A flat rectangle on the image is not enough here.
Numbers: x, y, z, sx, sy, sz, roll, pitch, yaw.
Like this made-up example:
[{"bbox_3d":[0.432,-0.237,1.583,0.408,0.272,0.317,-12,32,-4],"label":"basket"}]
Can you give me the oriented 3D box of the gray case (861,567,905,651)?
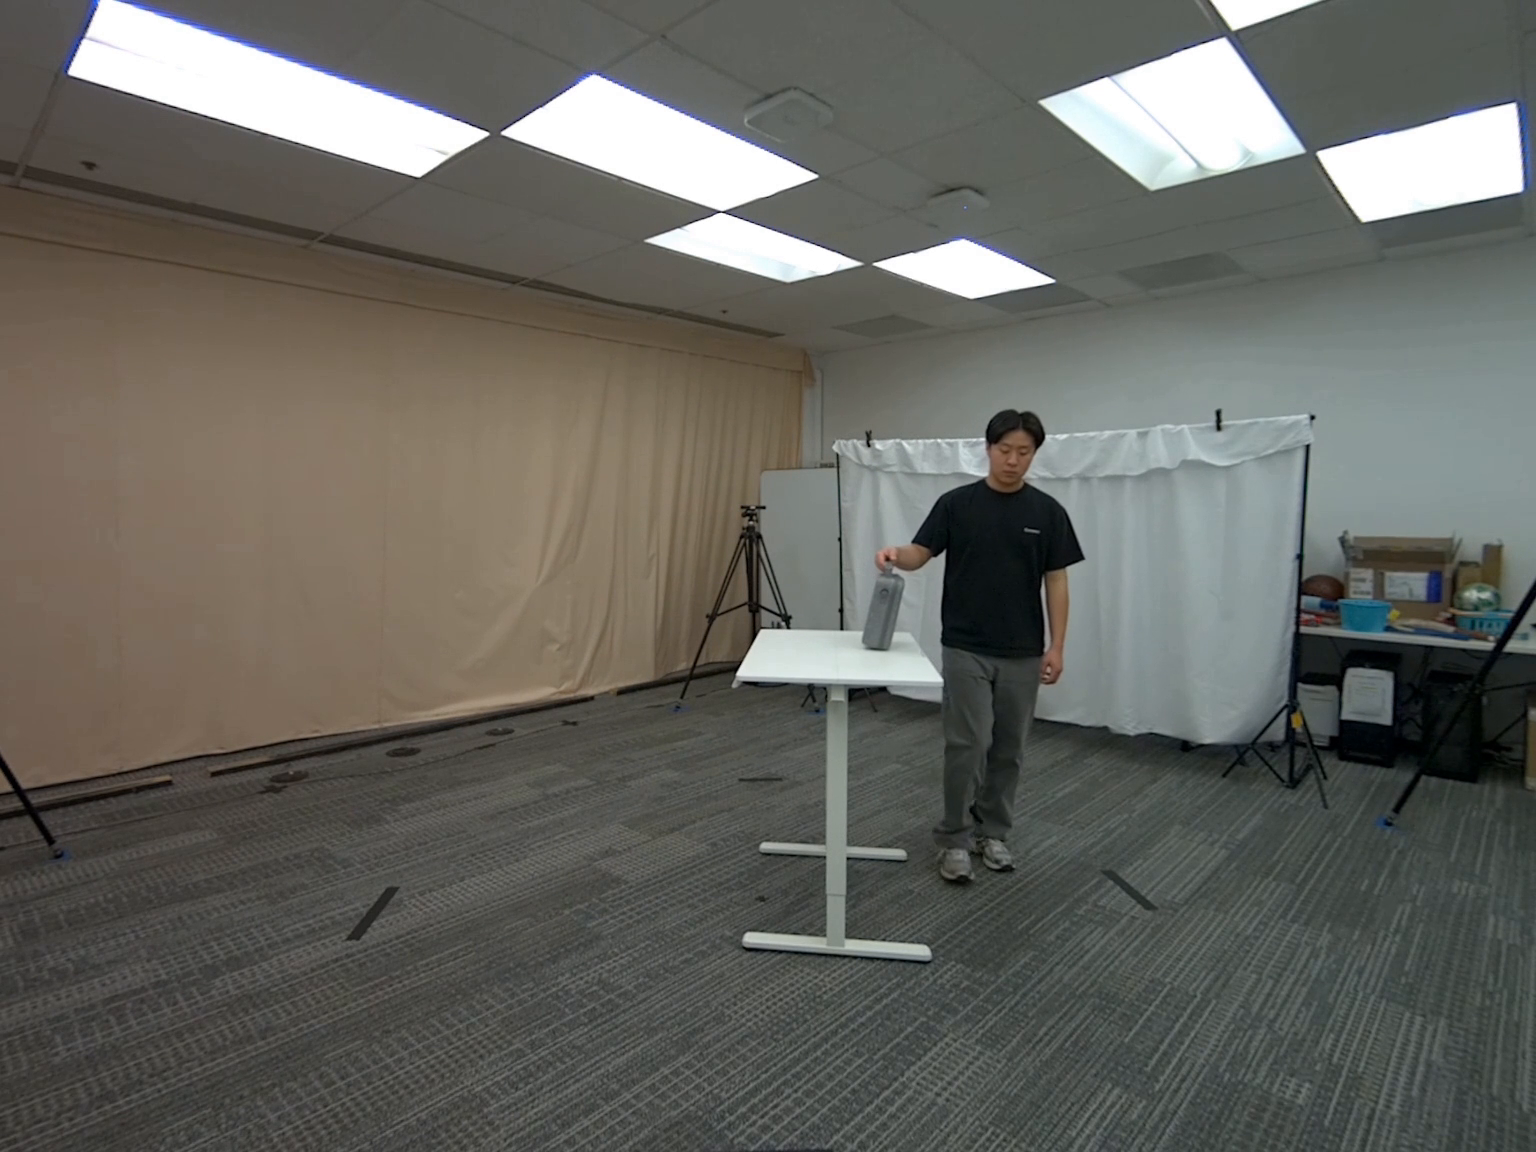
[{"bbox_3d":[0.425,0.113,3.046,0.104,0.286,0.261,10,6,6],"label":"gray case"}]
